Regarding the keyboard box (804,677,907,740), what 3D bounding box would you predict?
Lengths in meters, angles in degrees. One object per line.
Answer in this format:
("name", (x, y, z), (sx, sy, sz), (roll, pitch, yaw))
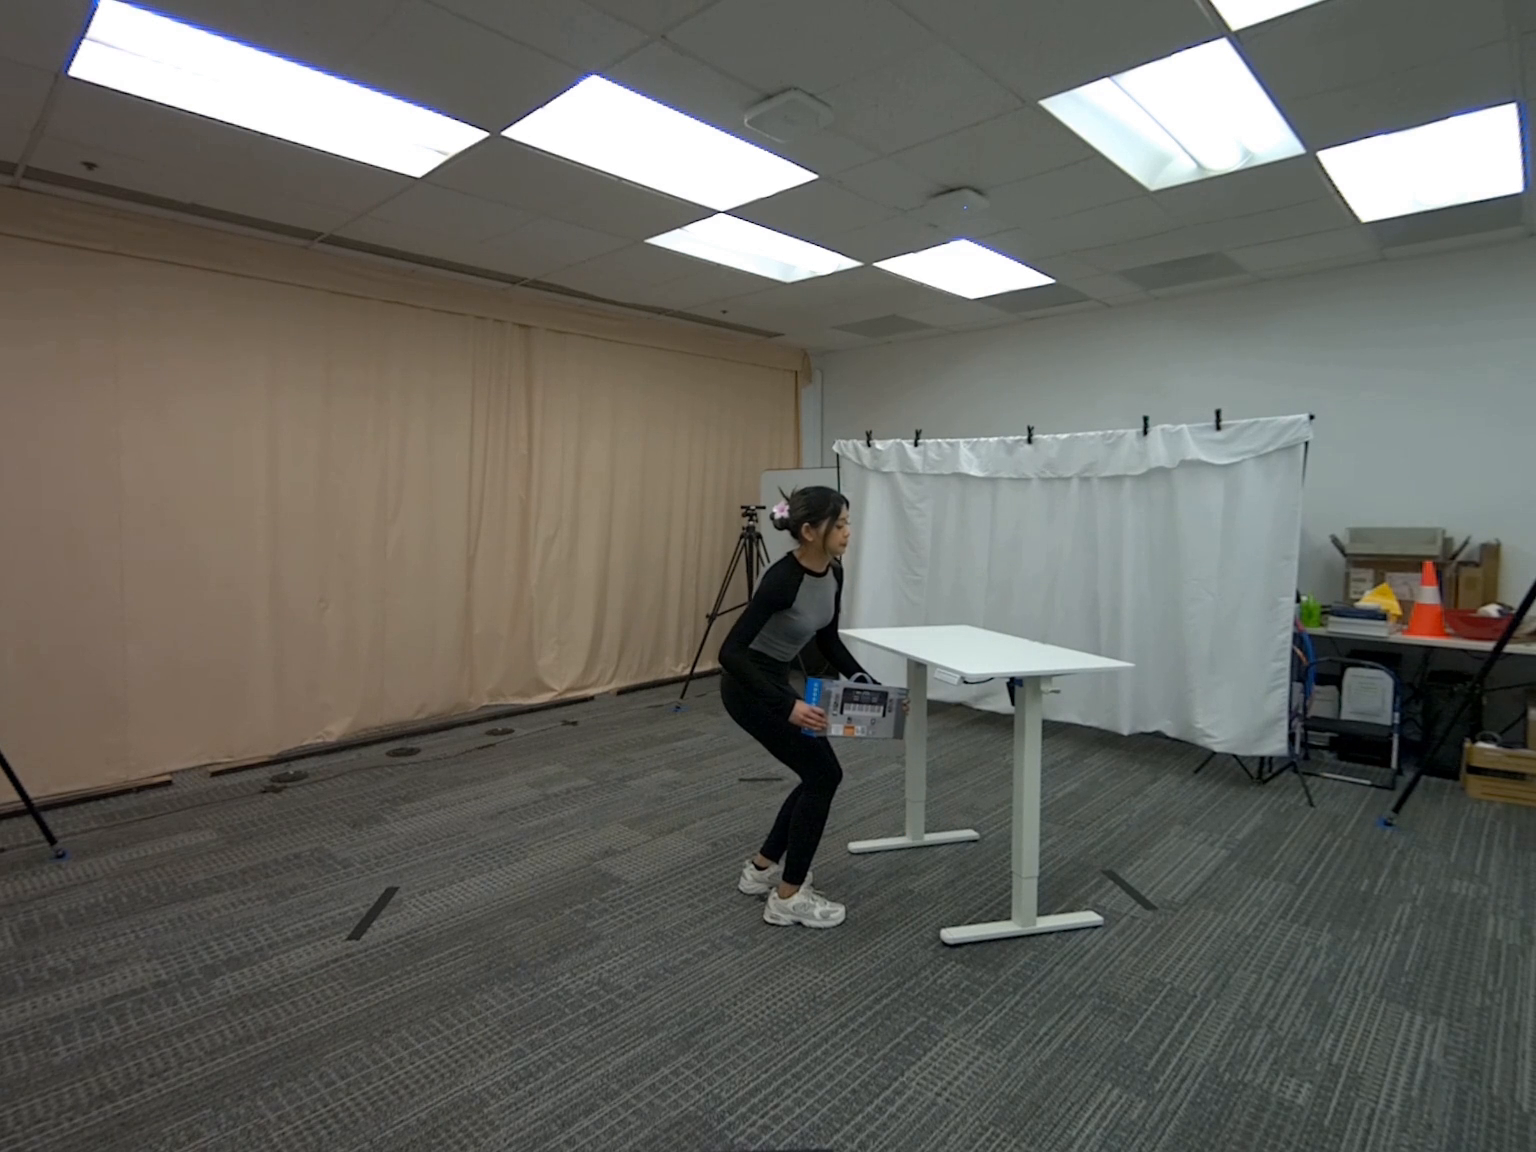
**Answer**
("keyboard box", (0.292, 0.440, 2.705), (0.422, 0.176, 0.061), (13, -6, -41))
